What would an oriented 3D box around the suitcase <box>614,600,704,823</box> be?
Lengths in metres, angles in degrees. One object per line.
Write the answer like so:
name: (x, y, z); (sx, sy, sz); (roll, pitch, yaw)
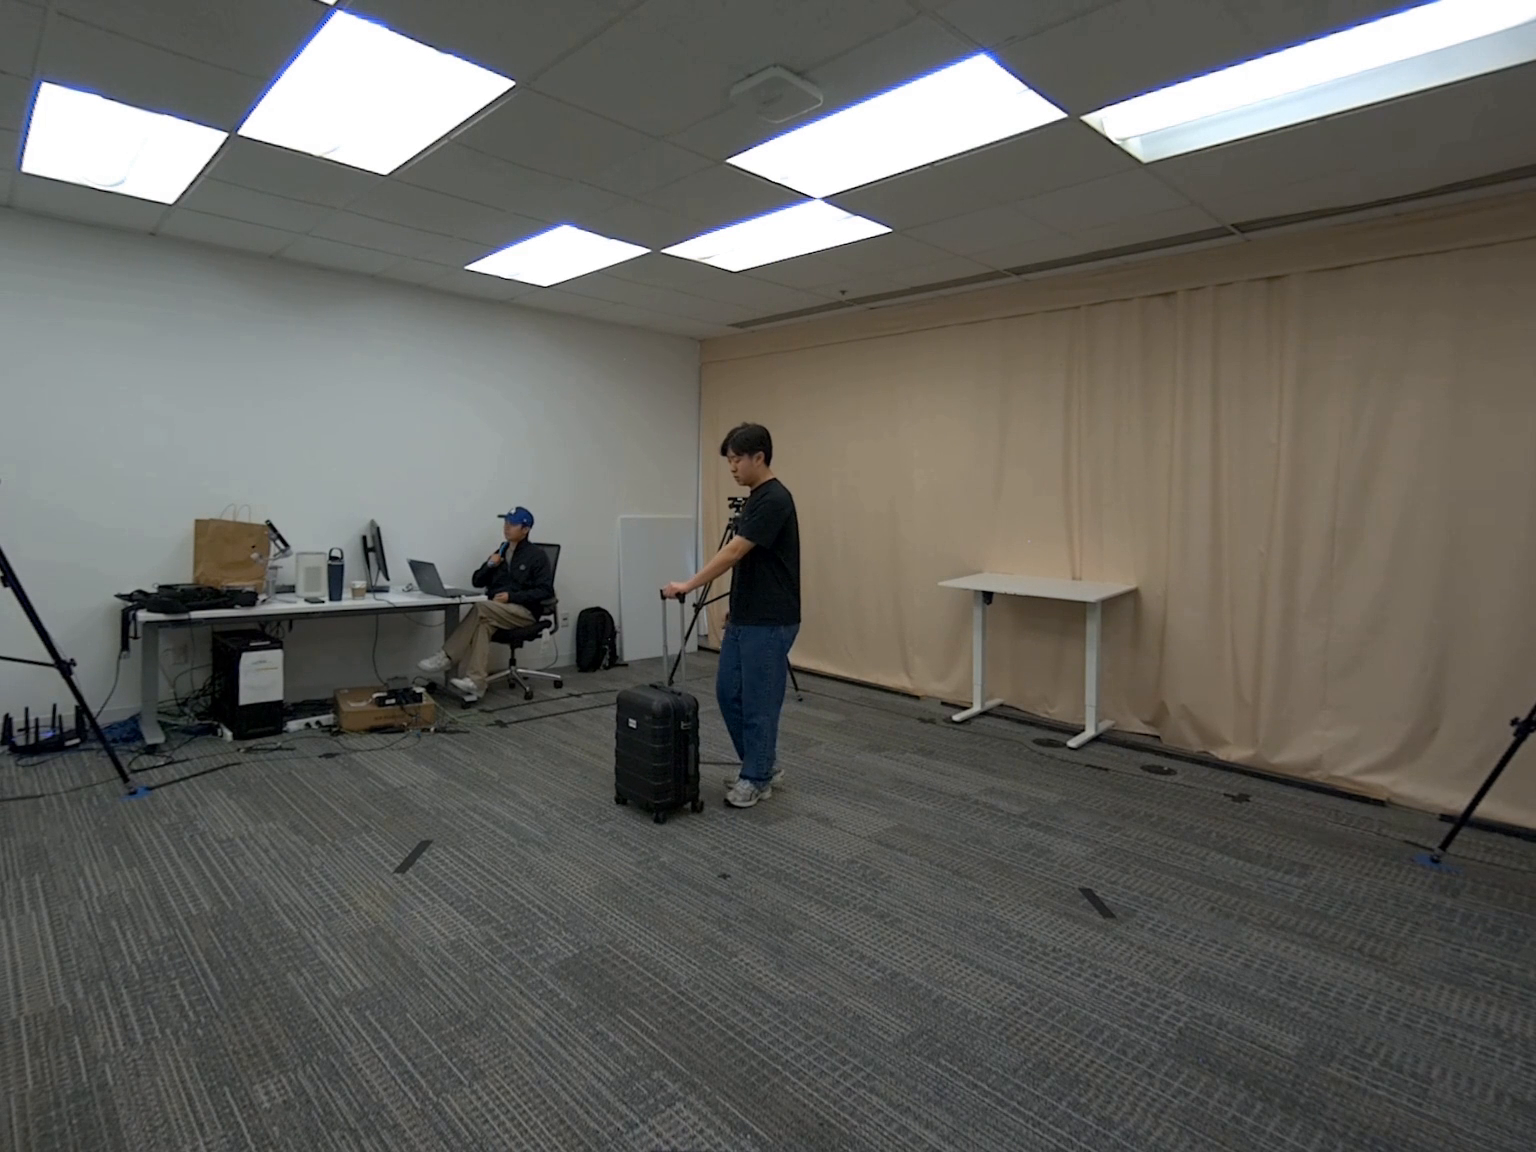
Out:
suitcase: (-0.506, 0.569, 3.717); (0.252, 0.973, 0.394); (-8, 10, -43)
